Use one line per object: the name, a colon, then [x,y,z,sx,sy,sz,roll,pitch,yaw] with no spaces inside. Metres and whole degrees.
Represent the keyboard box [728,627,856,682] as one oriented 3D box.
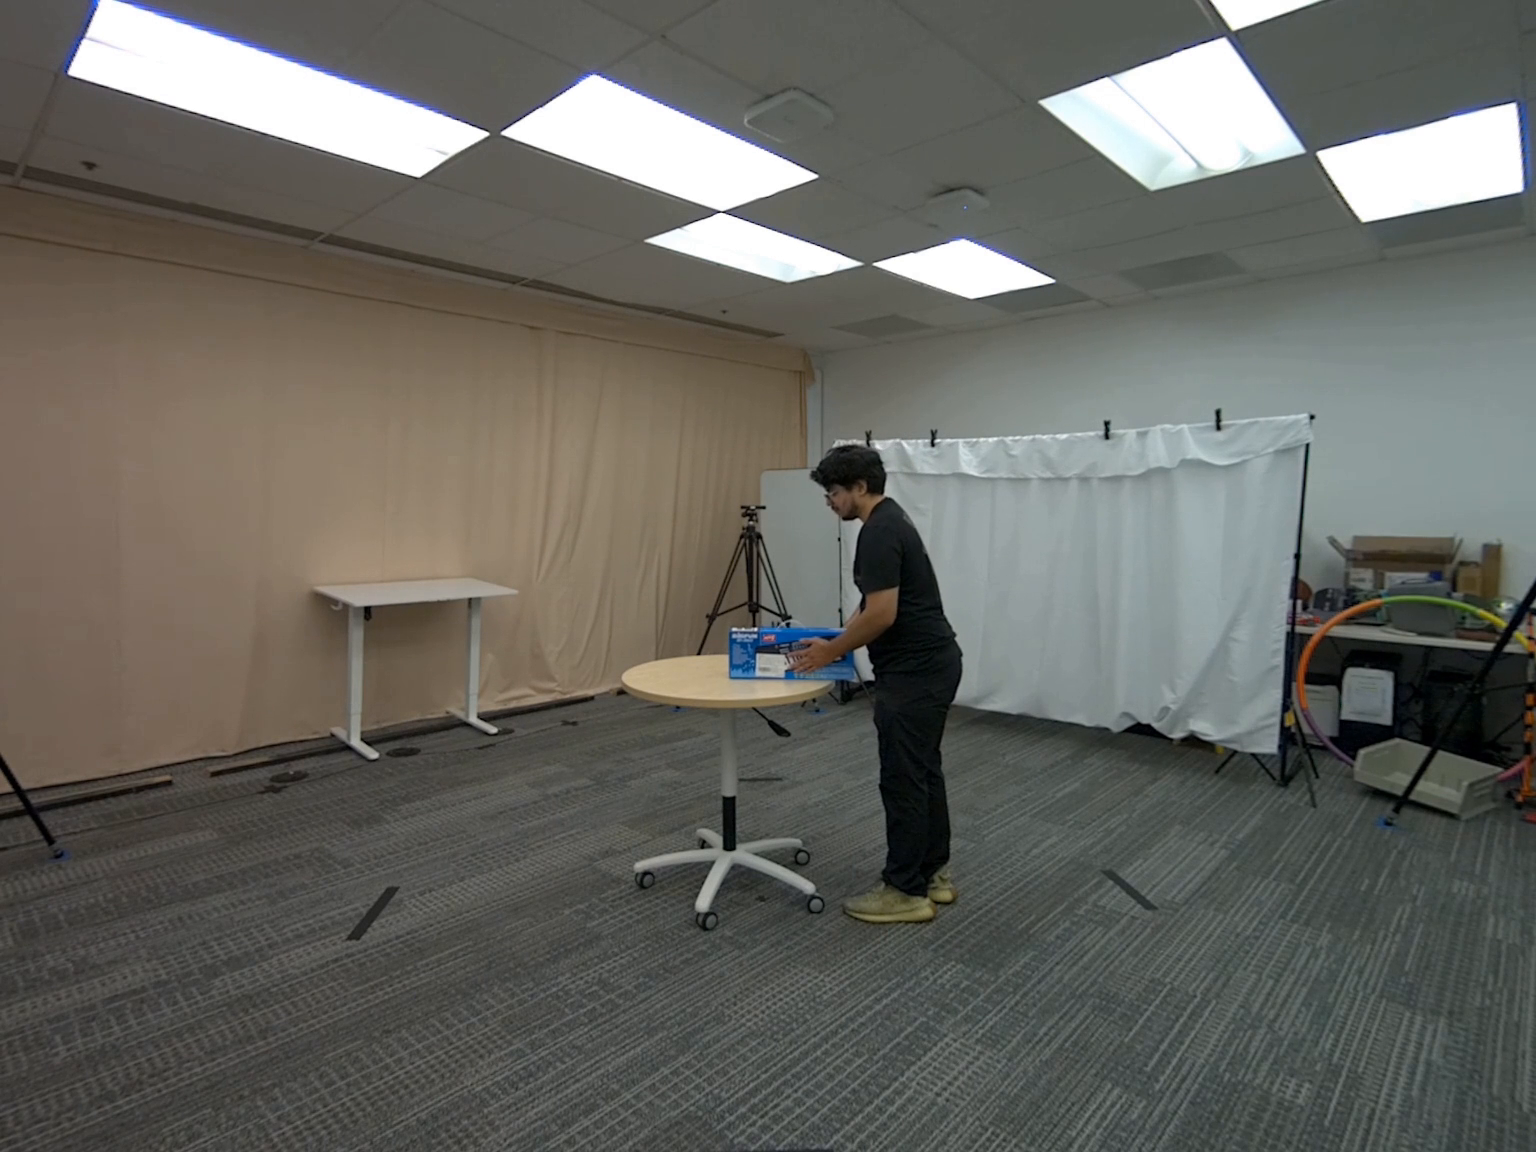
keyboard box: [0.079,0.278,2.970,0.438,0.175,0.059,-1,6,3]
